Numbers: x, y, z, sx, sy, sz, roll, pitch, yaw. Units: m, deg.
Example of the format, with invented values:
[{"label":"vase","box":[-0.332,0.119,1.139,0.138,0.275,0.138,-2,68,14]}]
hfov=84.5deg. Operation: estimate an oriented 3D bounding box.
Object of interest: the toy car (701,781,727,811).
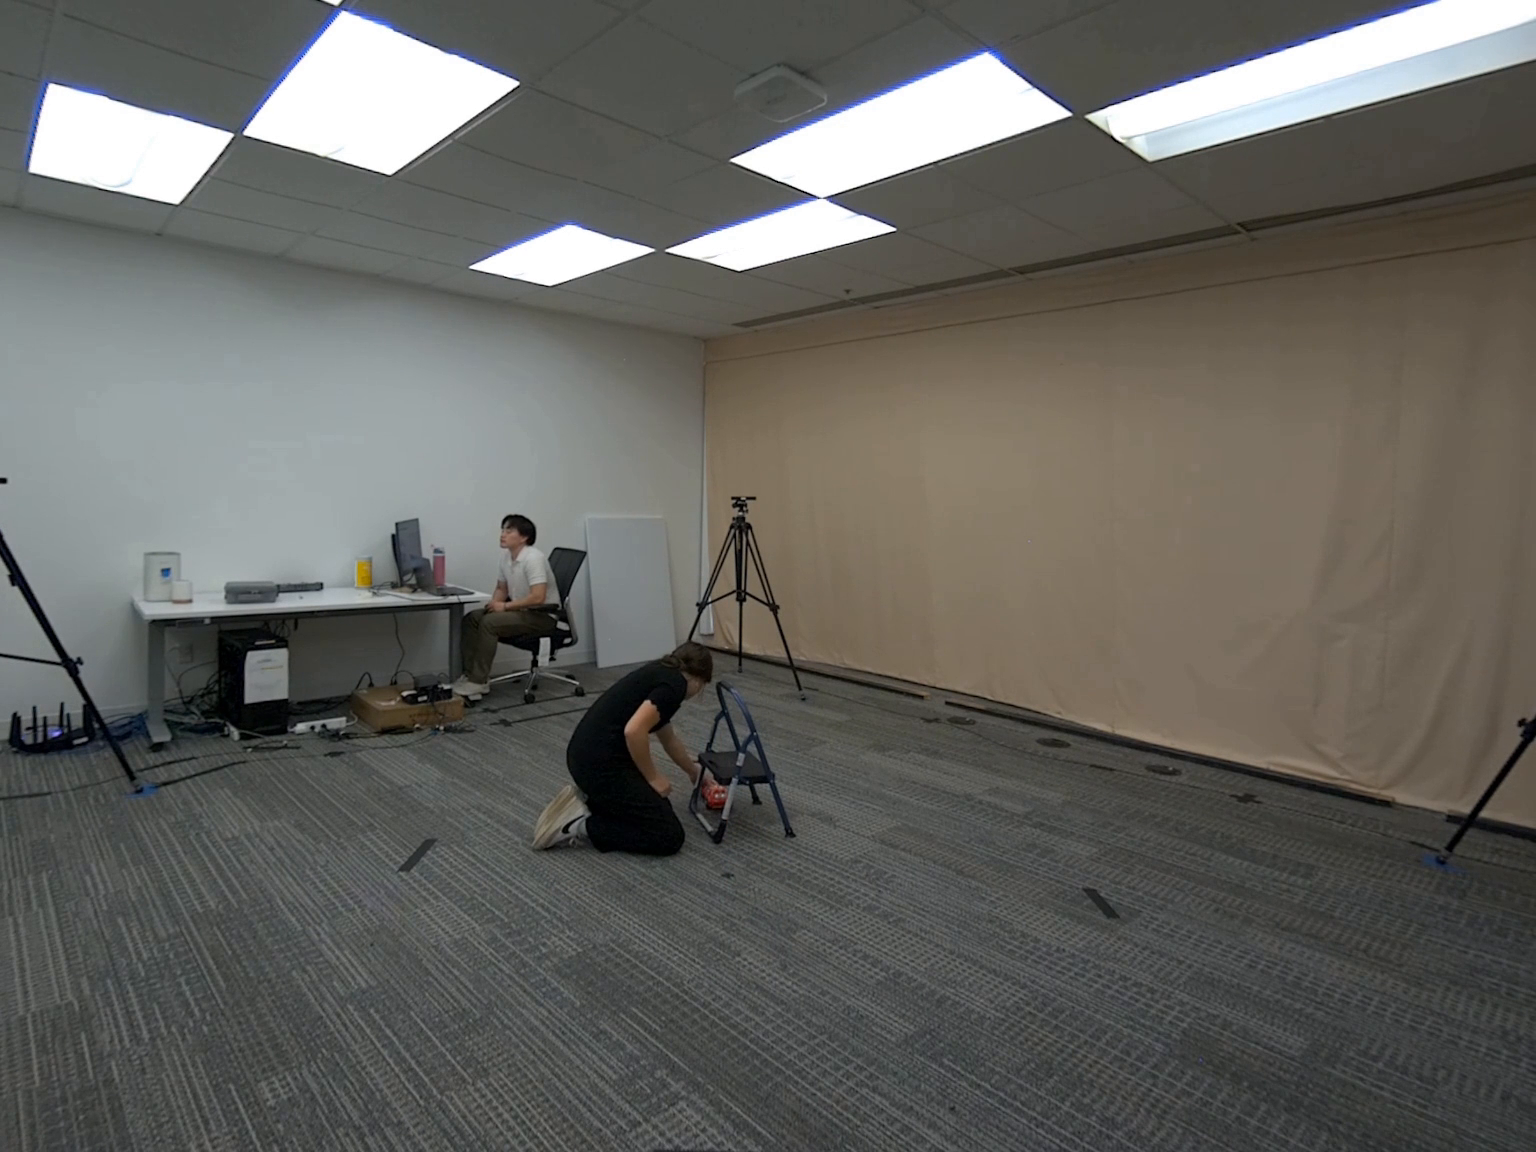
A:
[{"label":"toy car","box":[-0.247,1.014,3.842,0.129,0.083,0.256,0,-5,-17]}]
